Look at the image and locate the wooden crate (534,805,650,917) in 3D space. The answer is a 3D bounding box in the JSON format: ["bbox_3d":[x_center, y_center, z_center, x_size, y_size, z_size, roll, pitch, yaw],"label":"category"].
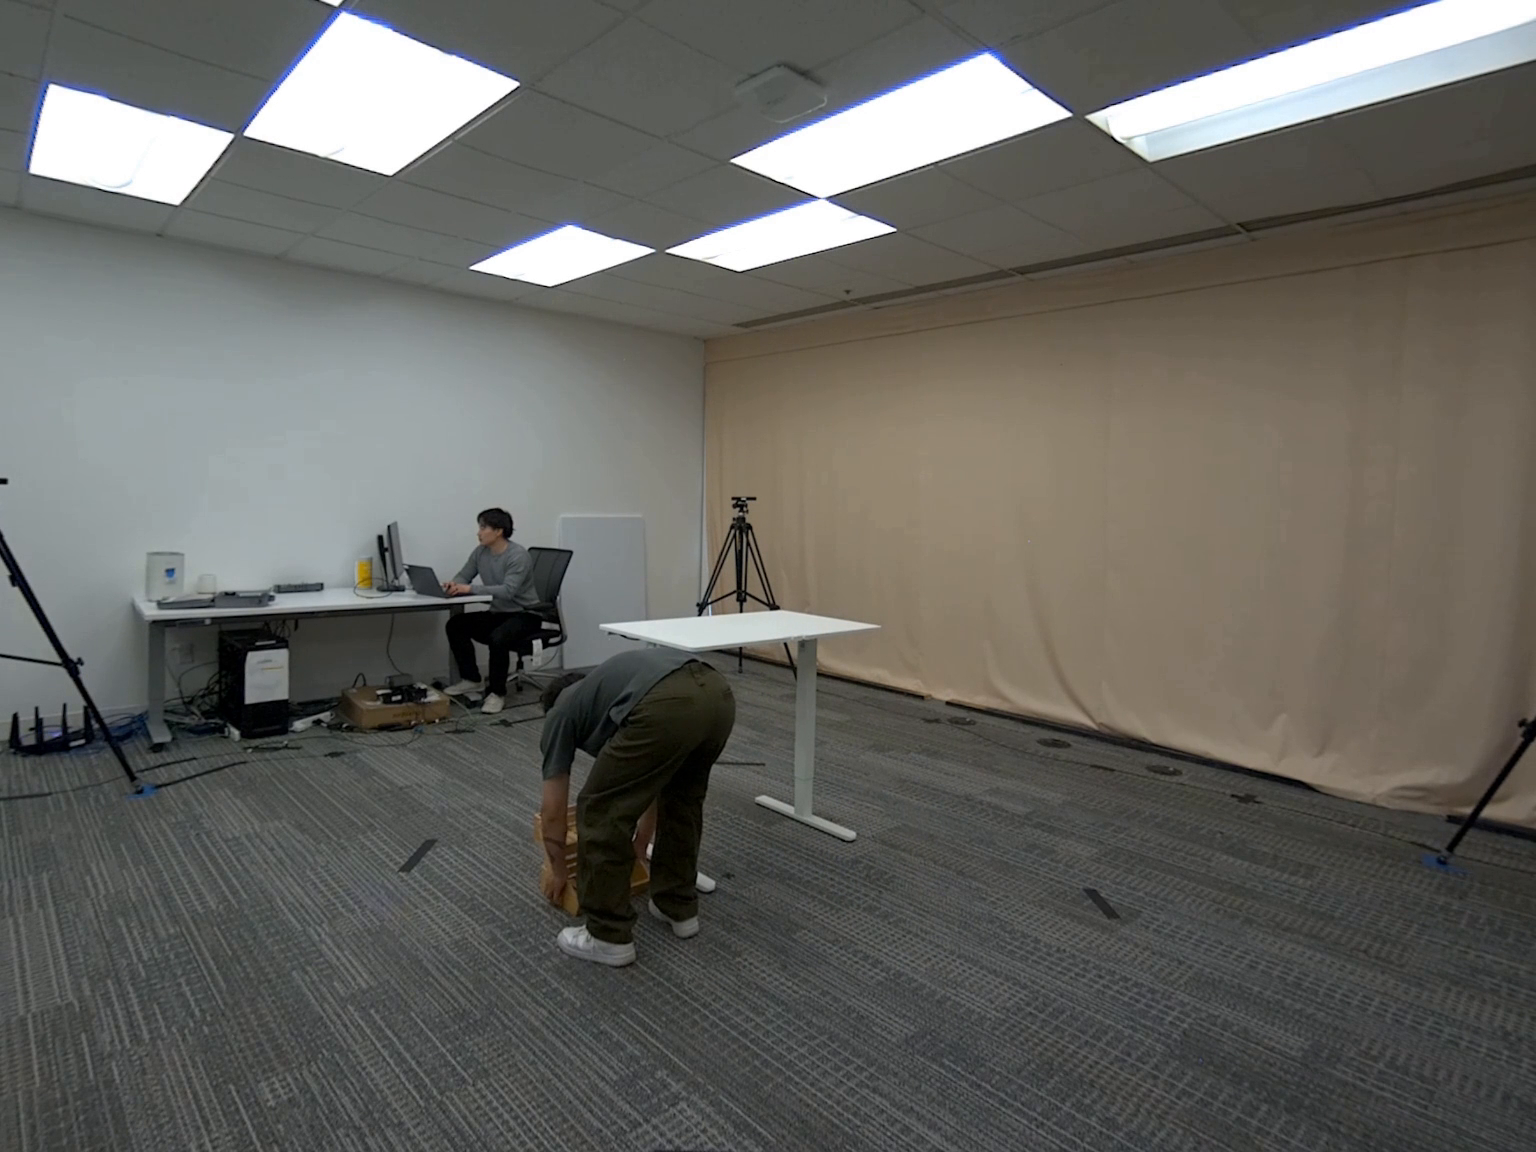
[{"bbox_3d":[-0.617,0.979,2.962,0.317,0.273,0.310,-2,5,-43],"label":"wooden crate"}]
